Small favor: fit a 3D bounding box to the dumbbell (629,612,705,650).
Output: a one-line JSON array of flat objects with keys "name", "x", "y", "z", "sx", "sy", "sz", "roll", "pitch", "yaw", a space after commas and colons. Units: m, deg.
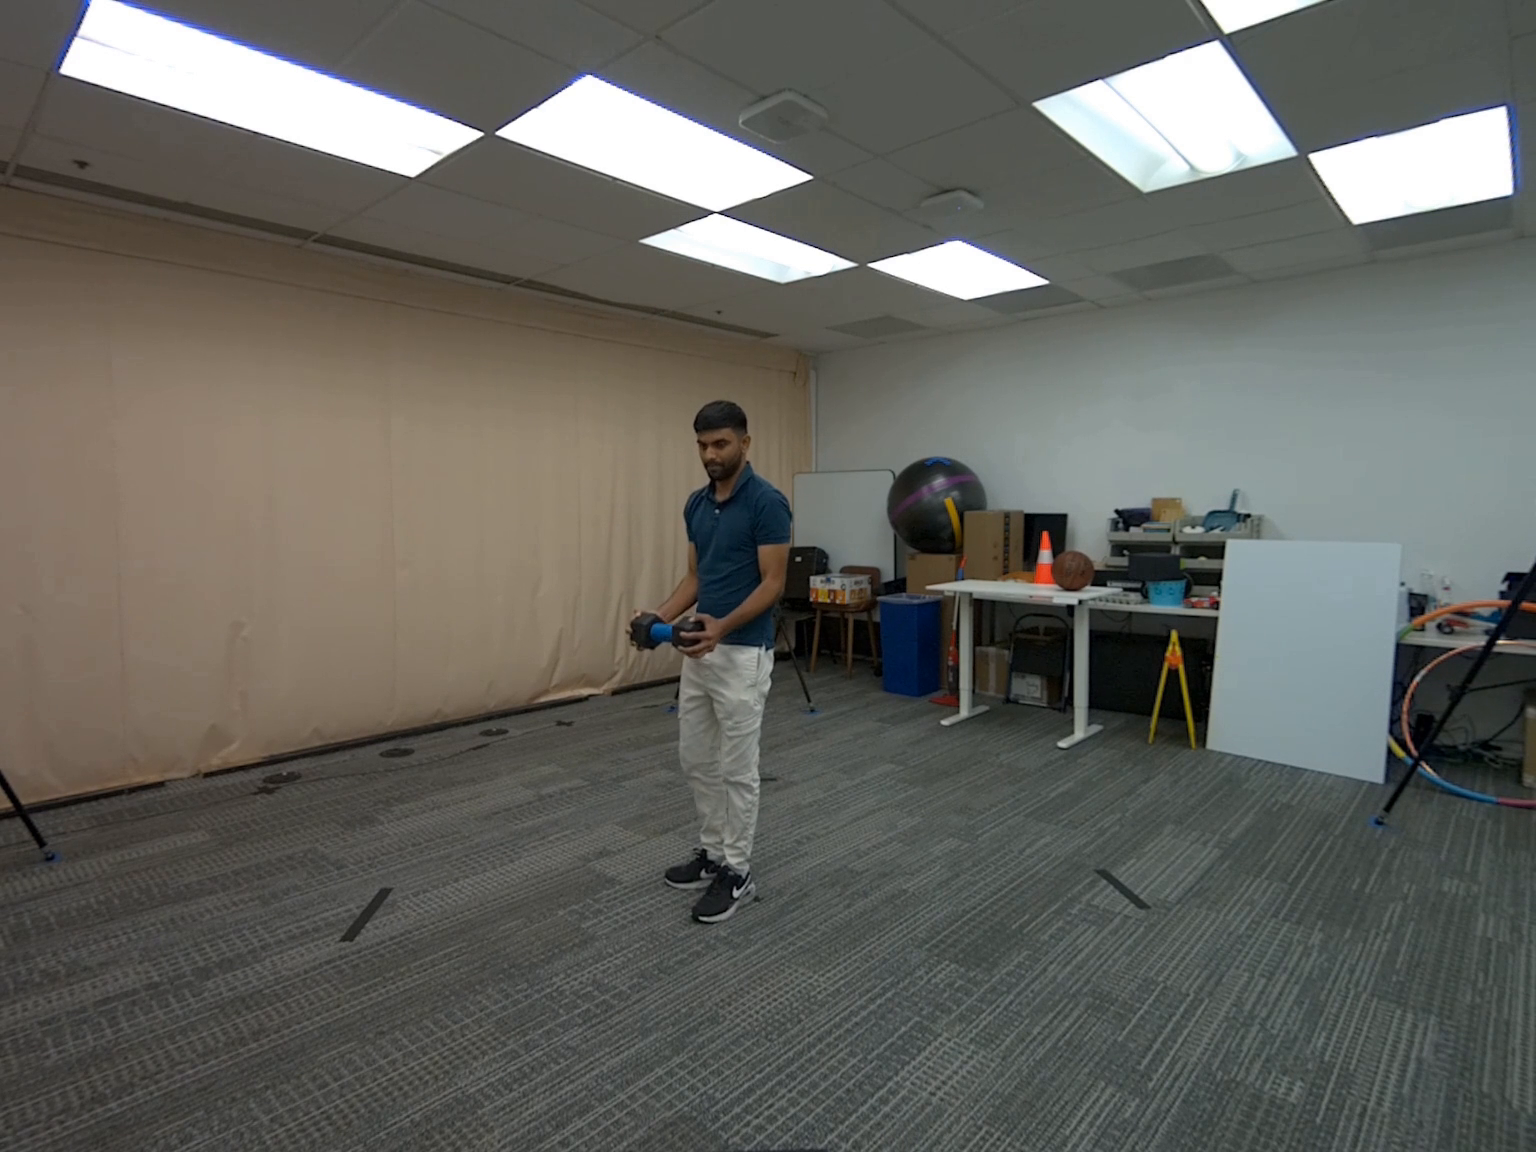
[{"name": "dumbbell", "x": -0.315, "y": 0.179, "z": 2.770, "sx": 0.303, "sy": 0.123, "sz": 0.105, "roll": 1, "pitch": 2, "yaw": 41}]
